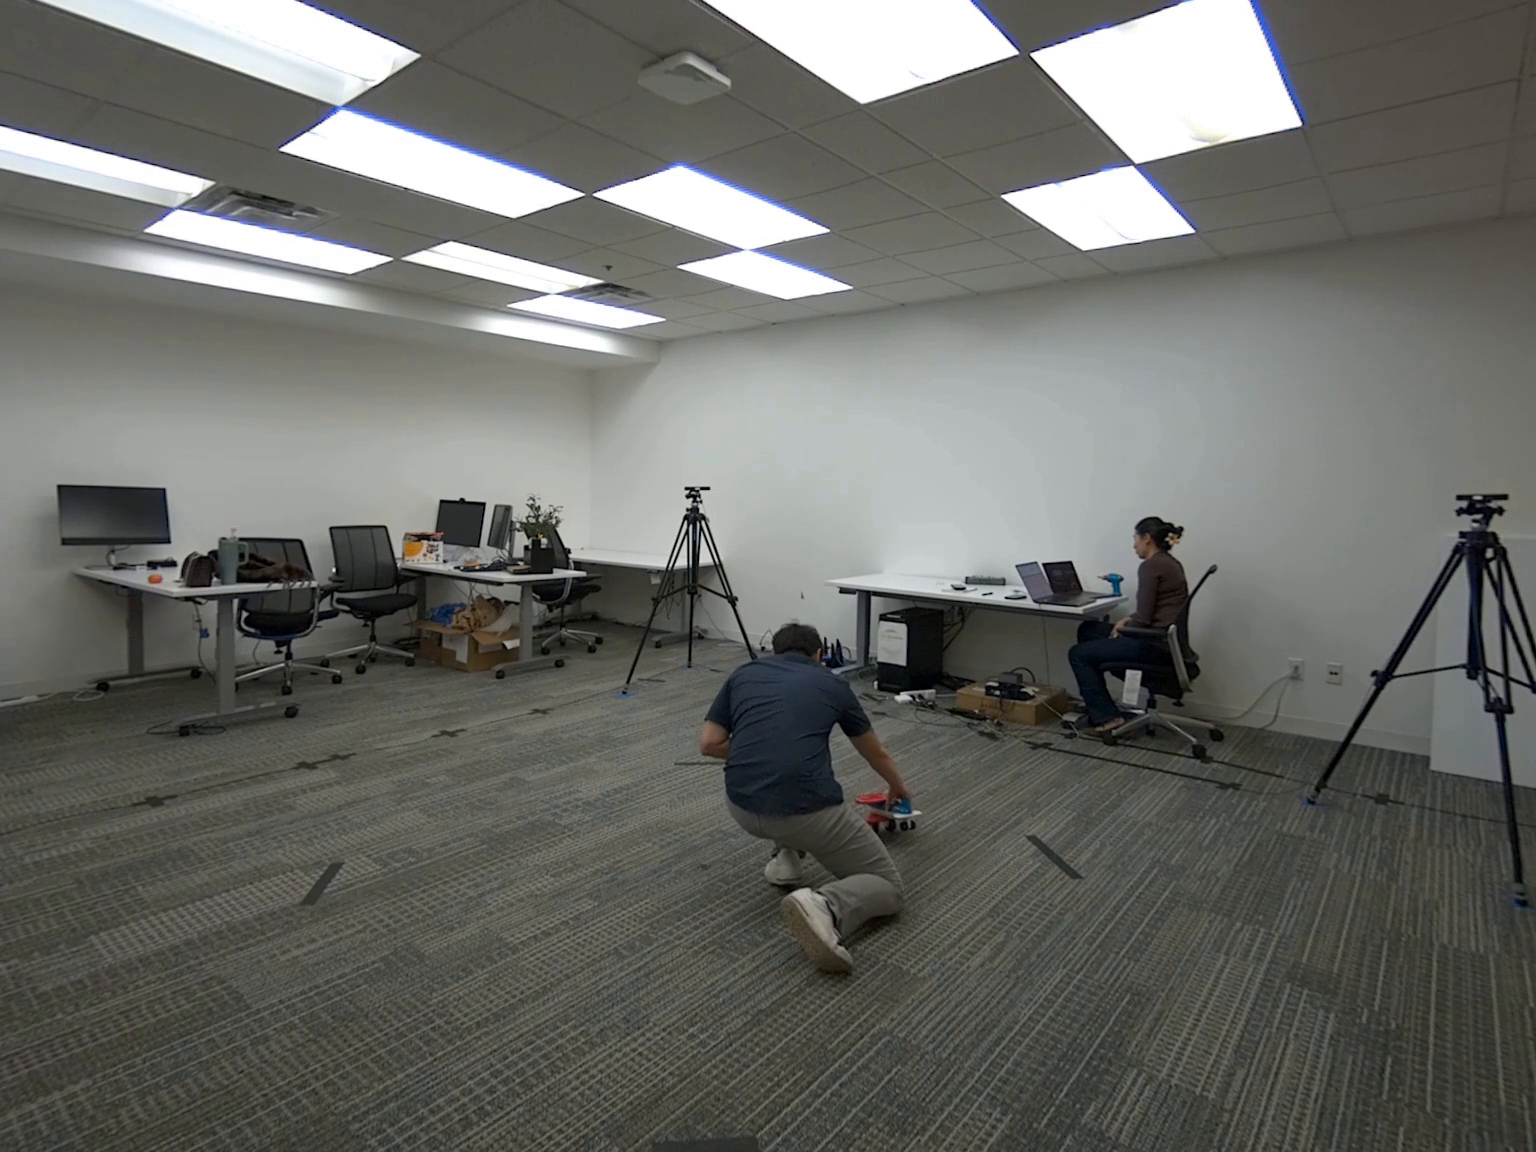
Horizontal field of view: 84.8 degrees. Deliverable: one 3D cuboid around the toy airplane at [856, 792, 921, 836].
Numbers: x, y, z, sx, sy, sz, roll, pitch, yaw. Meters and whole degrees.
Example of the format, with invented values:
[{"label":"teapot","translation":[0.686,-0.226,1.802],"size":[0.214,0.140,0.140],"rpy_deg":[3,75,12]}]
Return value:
[{"label":"toy airplane","translation":[0.505,0.948,3.425],"size":[0.264,0.159,0.242],"rpy_deg":[-20,-19,31]}]
